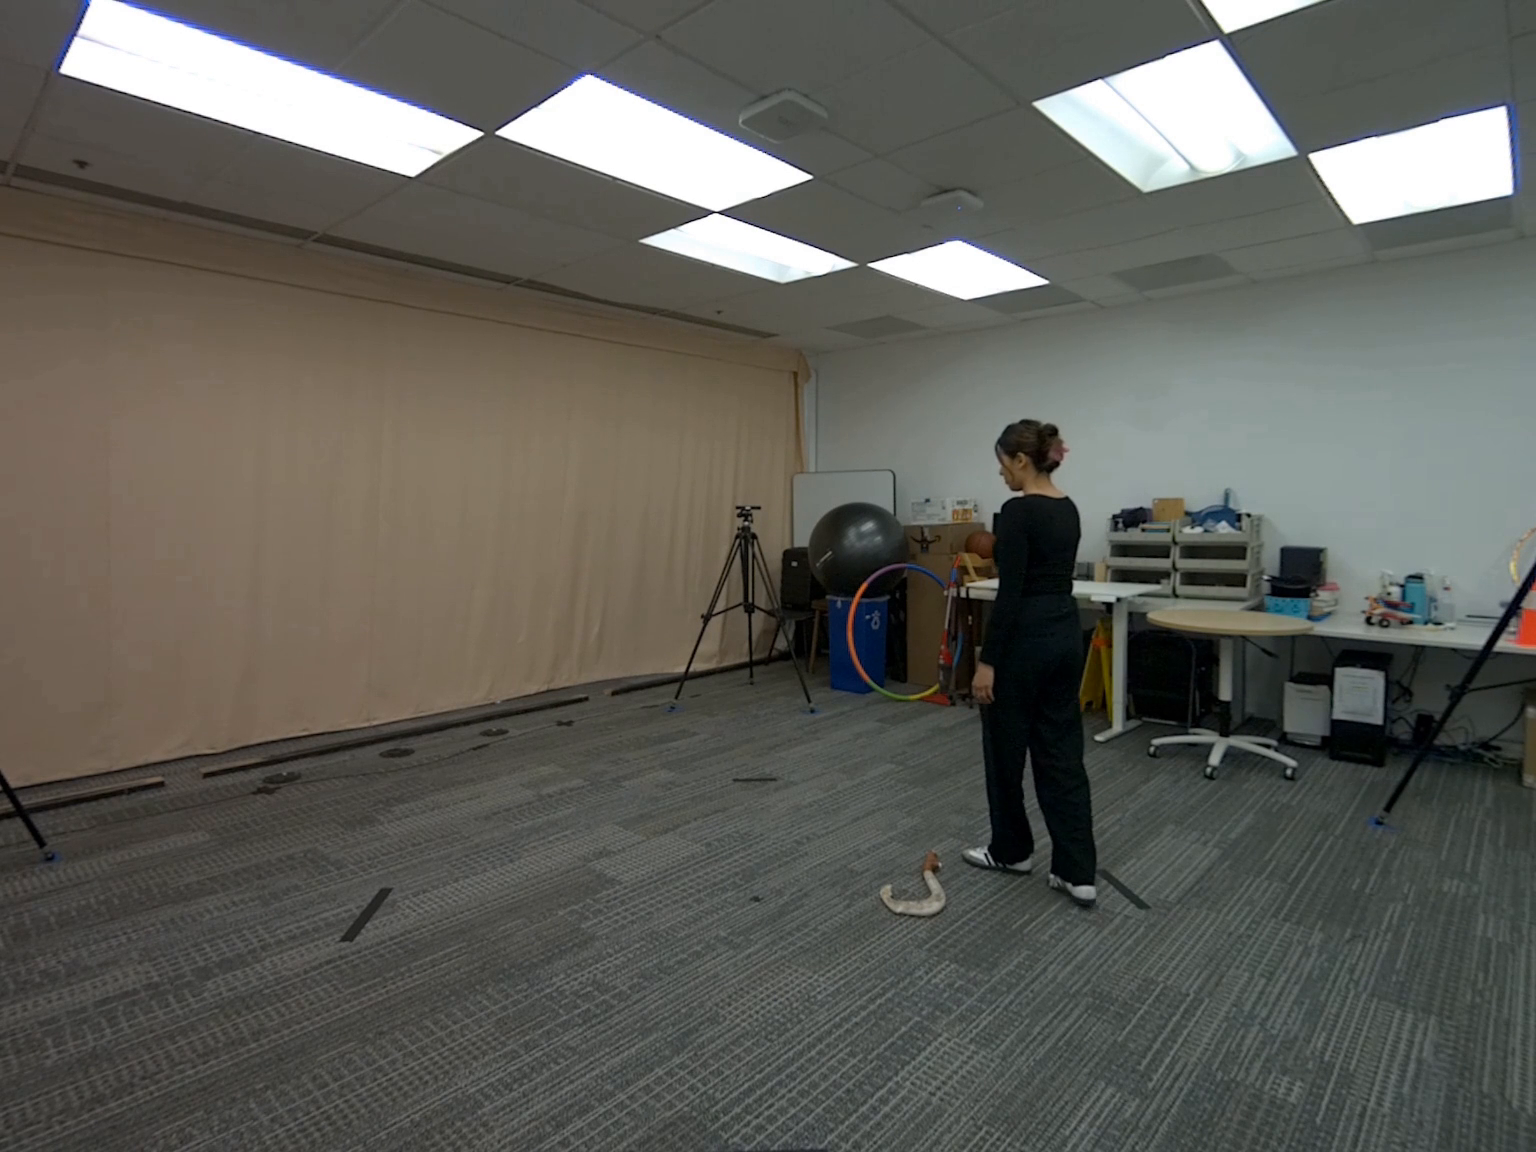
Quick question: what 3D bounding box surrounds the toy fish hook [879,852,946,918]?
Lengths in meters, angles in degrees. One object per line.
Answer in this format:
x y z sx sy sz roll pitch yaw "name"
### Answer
0.541 1.114 3.083 0.228 0.048 0.500 1 4 13 "toy fish hook"
